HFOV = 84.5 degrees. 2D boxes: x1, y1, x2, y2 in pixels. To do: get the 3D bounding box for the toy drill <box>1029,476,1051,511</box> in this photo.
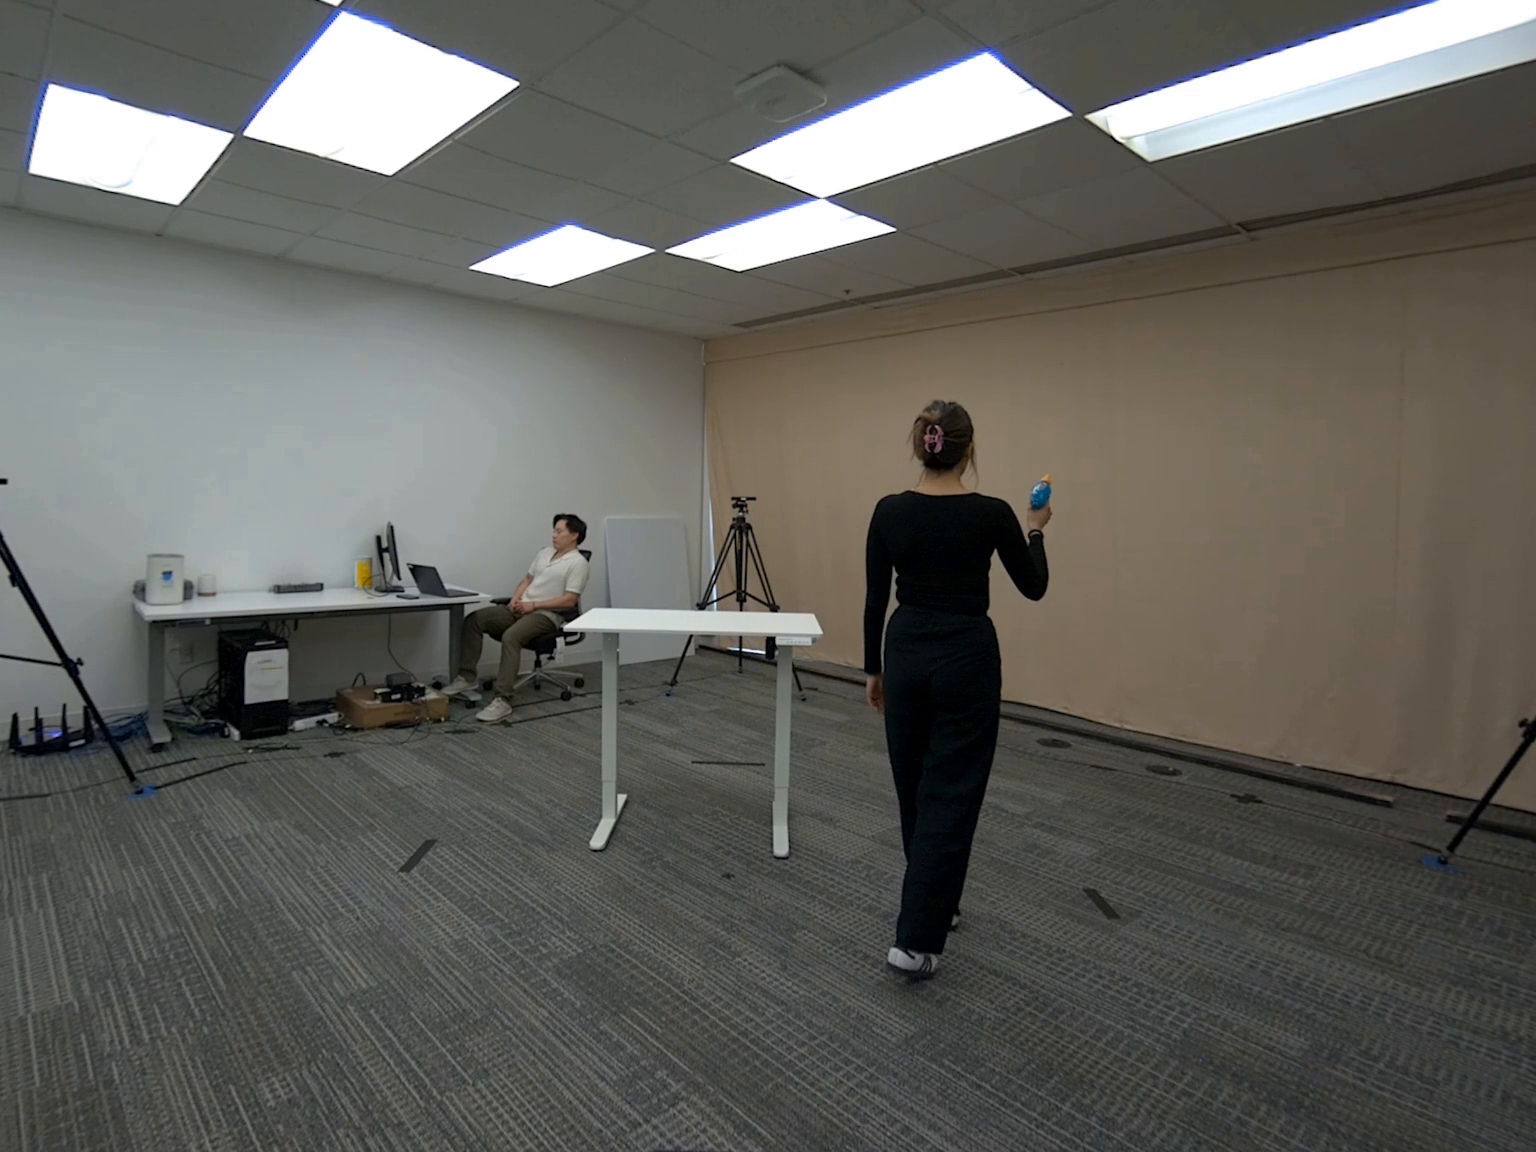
[{"bbox_3d":[0.920,-0.259,2.835,0.062,0.142,0.171,7,48,28],"label":"toy drill"}]
